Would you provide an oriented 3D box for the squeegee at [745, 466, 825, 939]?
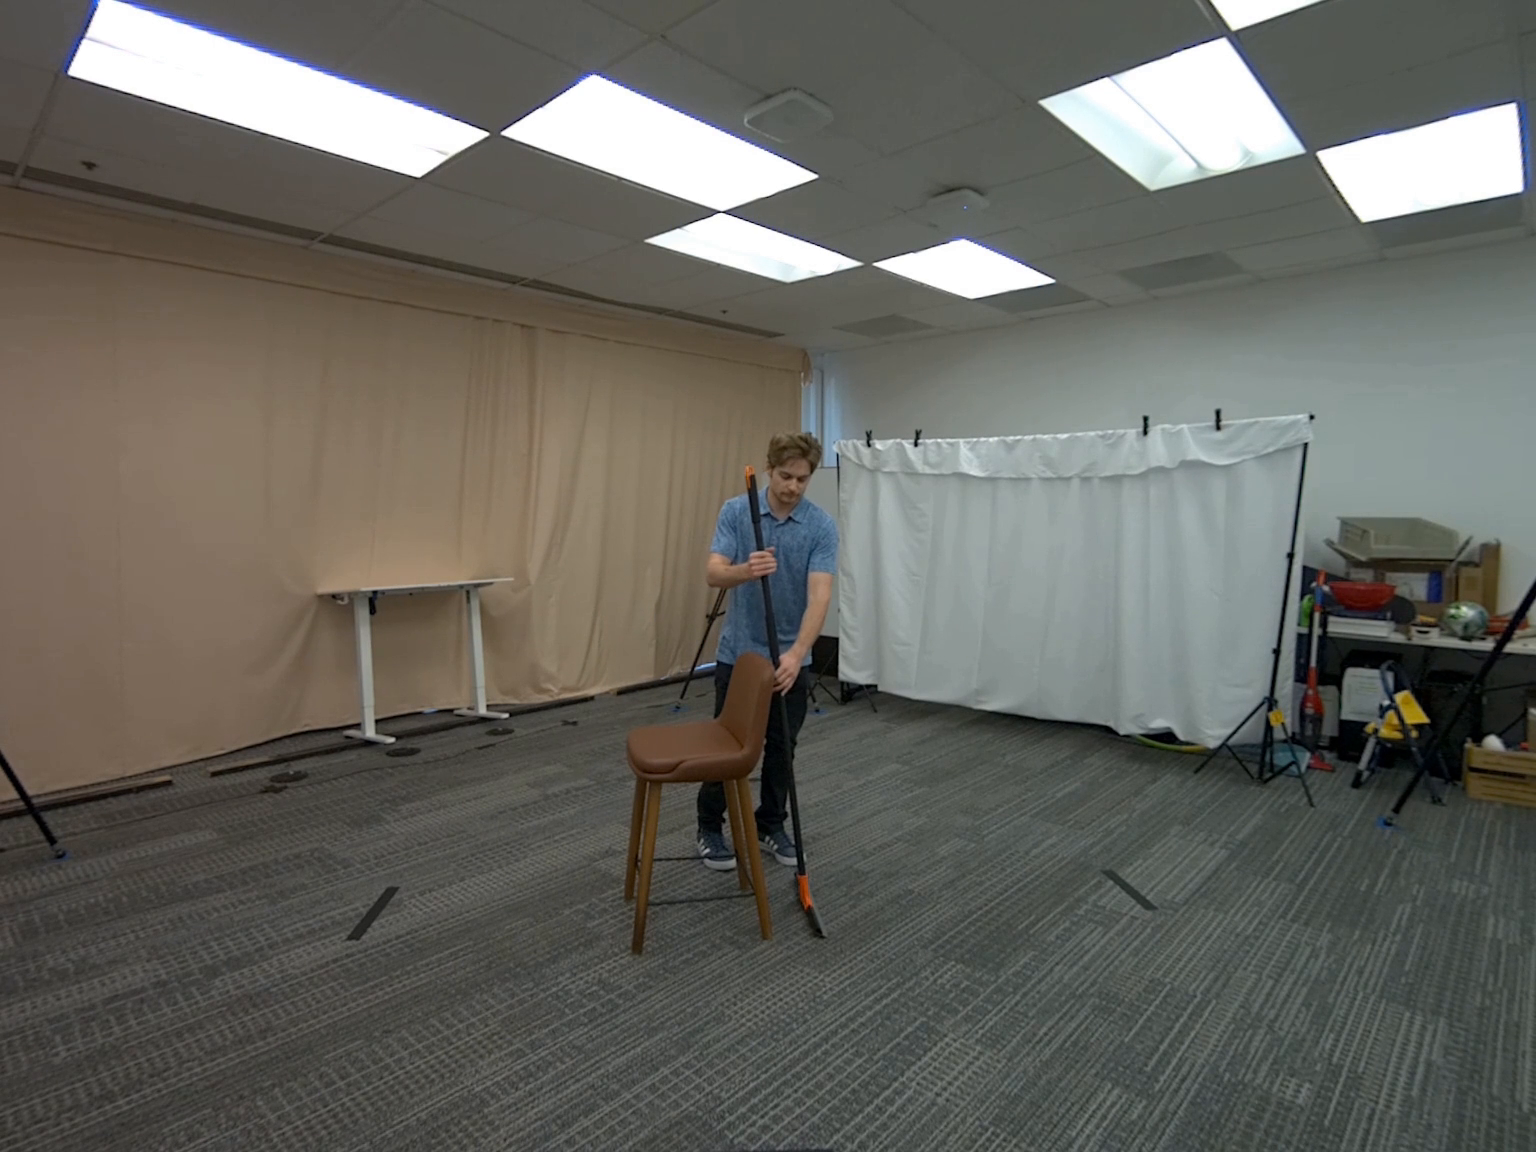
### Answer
[{"bbox_3d":[0.035,0.391,2.888,0.053,1.533,0.440,-6,4,-5],"label":"squeegee"}]
